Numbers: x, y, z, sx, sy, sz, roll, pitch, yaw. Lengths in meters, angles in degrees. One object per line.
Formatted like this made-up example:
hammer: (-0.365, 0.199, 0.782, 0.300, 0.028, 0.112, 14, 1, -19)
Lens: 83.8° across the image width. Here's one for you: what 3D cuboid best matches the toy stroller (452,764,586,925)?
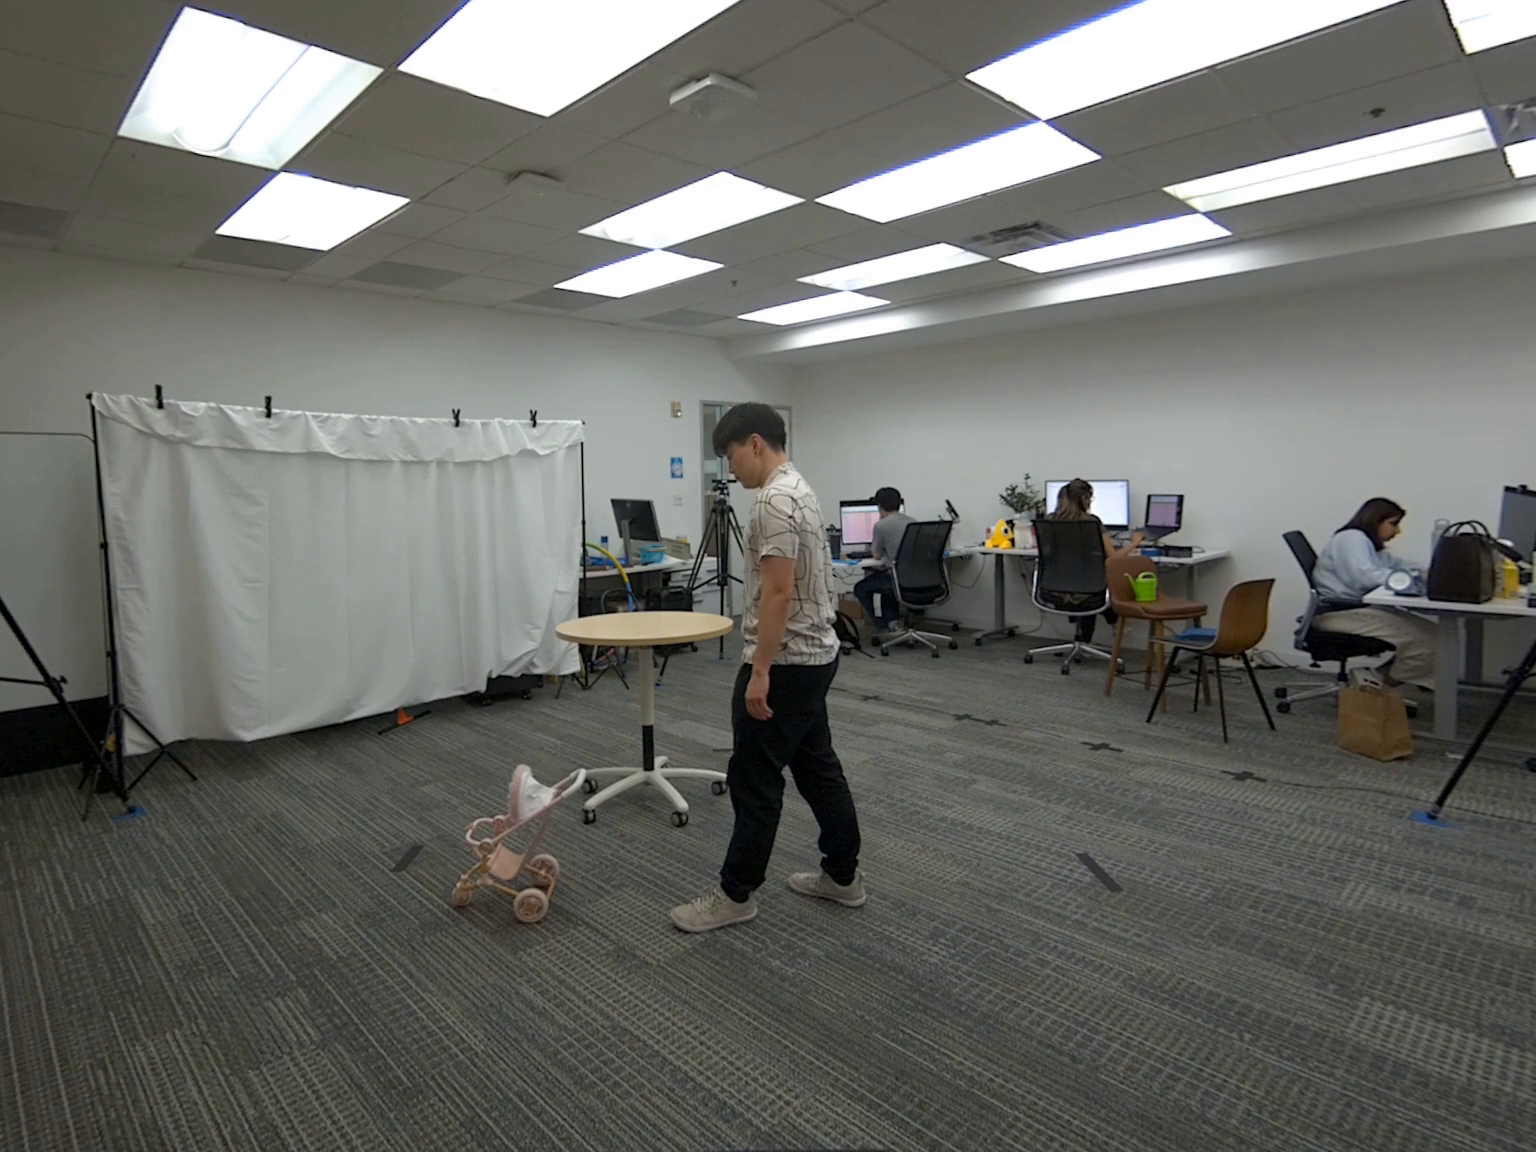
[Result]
toy stroller: (-0.833, 0.873, 2.834, 0.342, 0.533, 0.282, 14, 4, 0)
